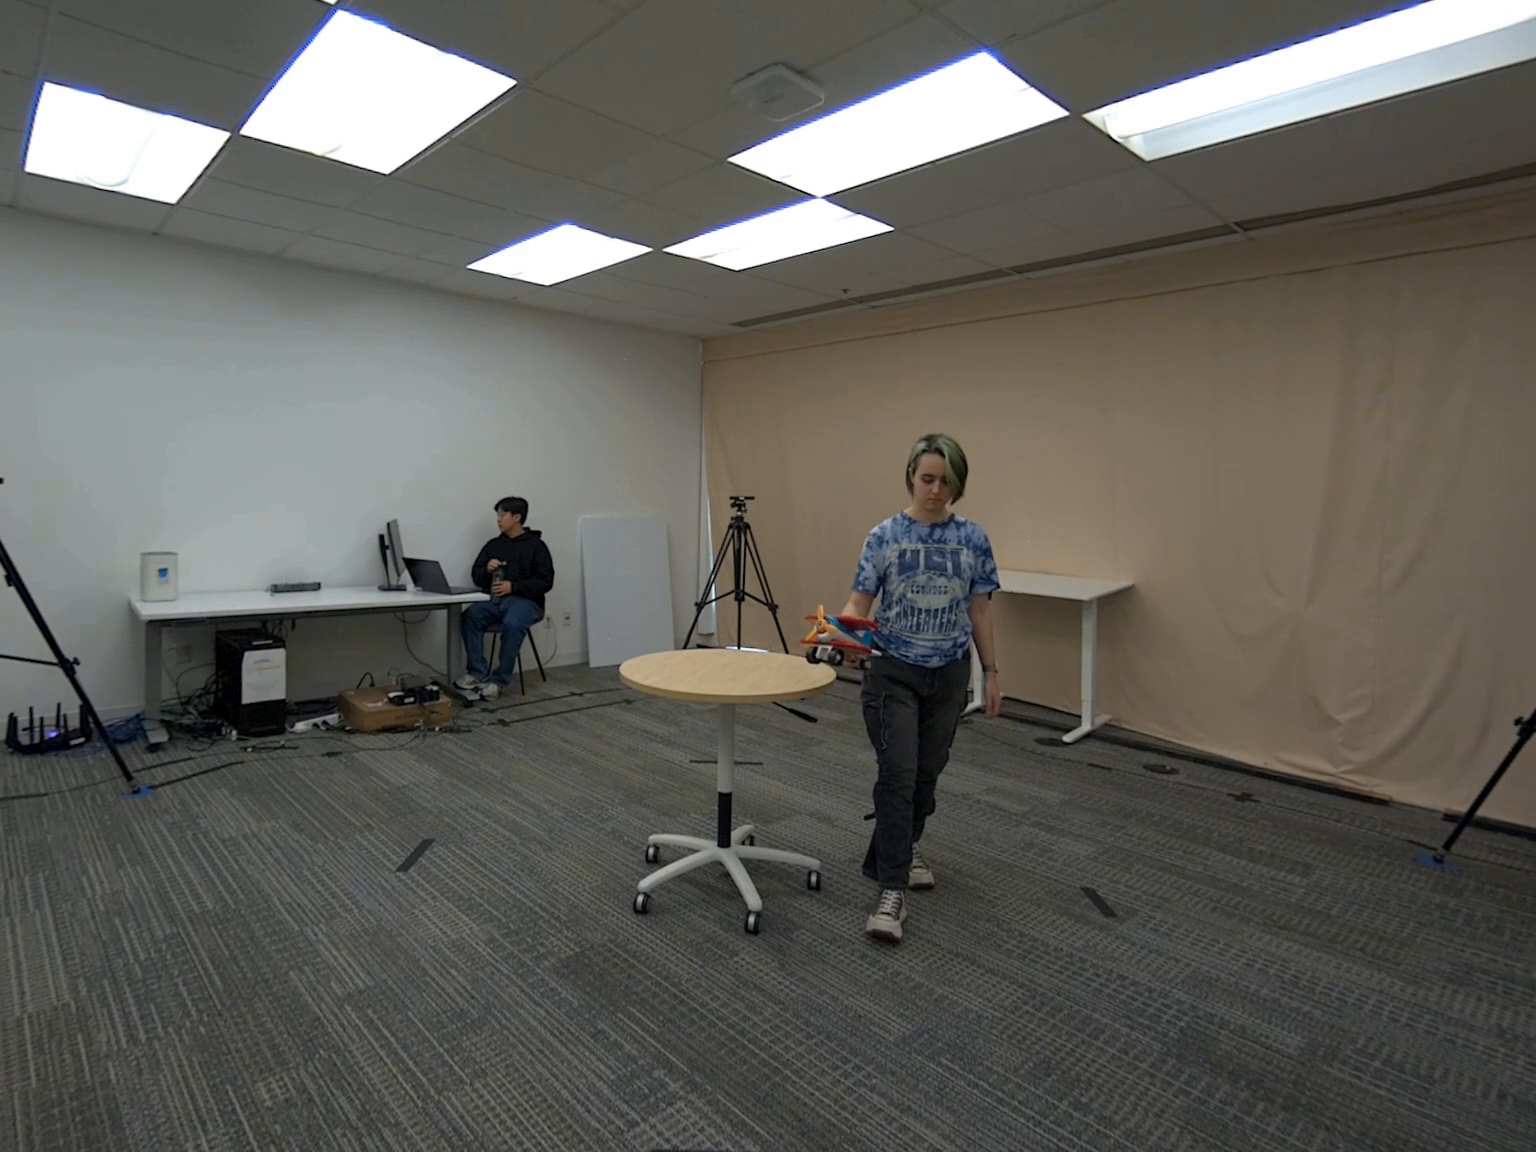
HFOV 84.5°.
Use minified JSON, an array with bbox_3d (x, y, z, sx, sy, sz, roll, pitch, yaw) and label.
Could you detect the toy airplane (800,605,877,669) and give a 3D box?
[{"bbox_3d":[0.216,0.204,2.602,0.255,0.157,0.254,4,-6,17],"label":"toy airplane"}]
